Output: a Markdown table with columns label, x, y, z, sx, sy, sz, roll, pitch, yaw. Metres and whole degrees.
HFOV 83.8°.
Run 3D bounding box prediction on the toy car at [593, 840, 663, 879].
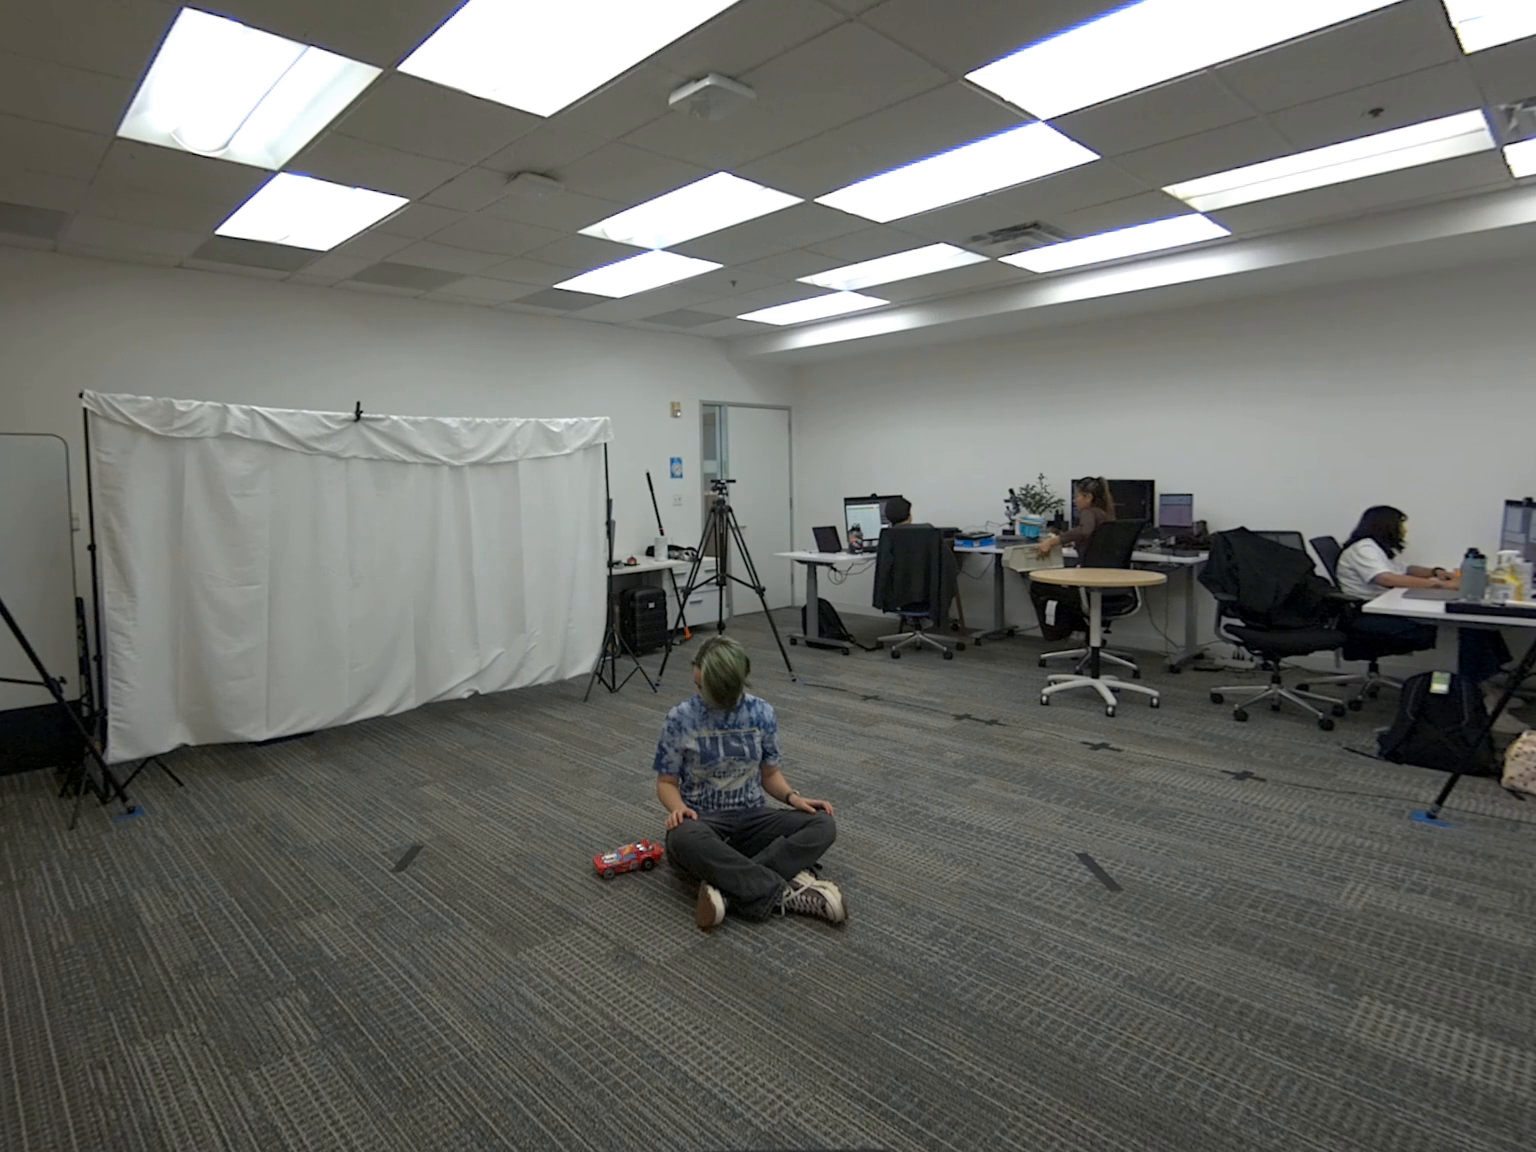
| label | x | y | z | sx | sy | sz | roll | pitch | yaw |
| --- | --- | --- | --- | --- | --- | --- | --- | --- | --- |
| toy car | -0.497 | 1.023 | 3.087 | 0.251 | 0.082 | 0.133 | -16 | 11 | -23 |
